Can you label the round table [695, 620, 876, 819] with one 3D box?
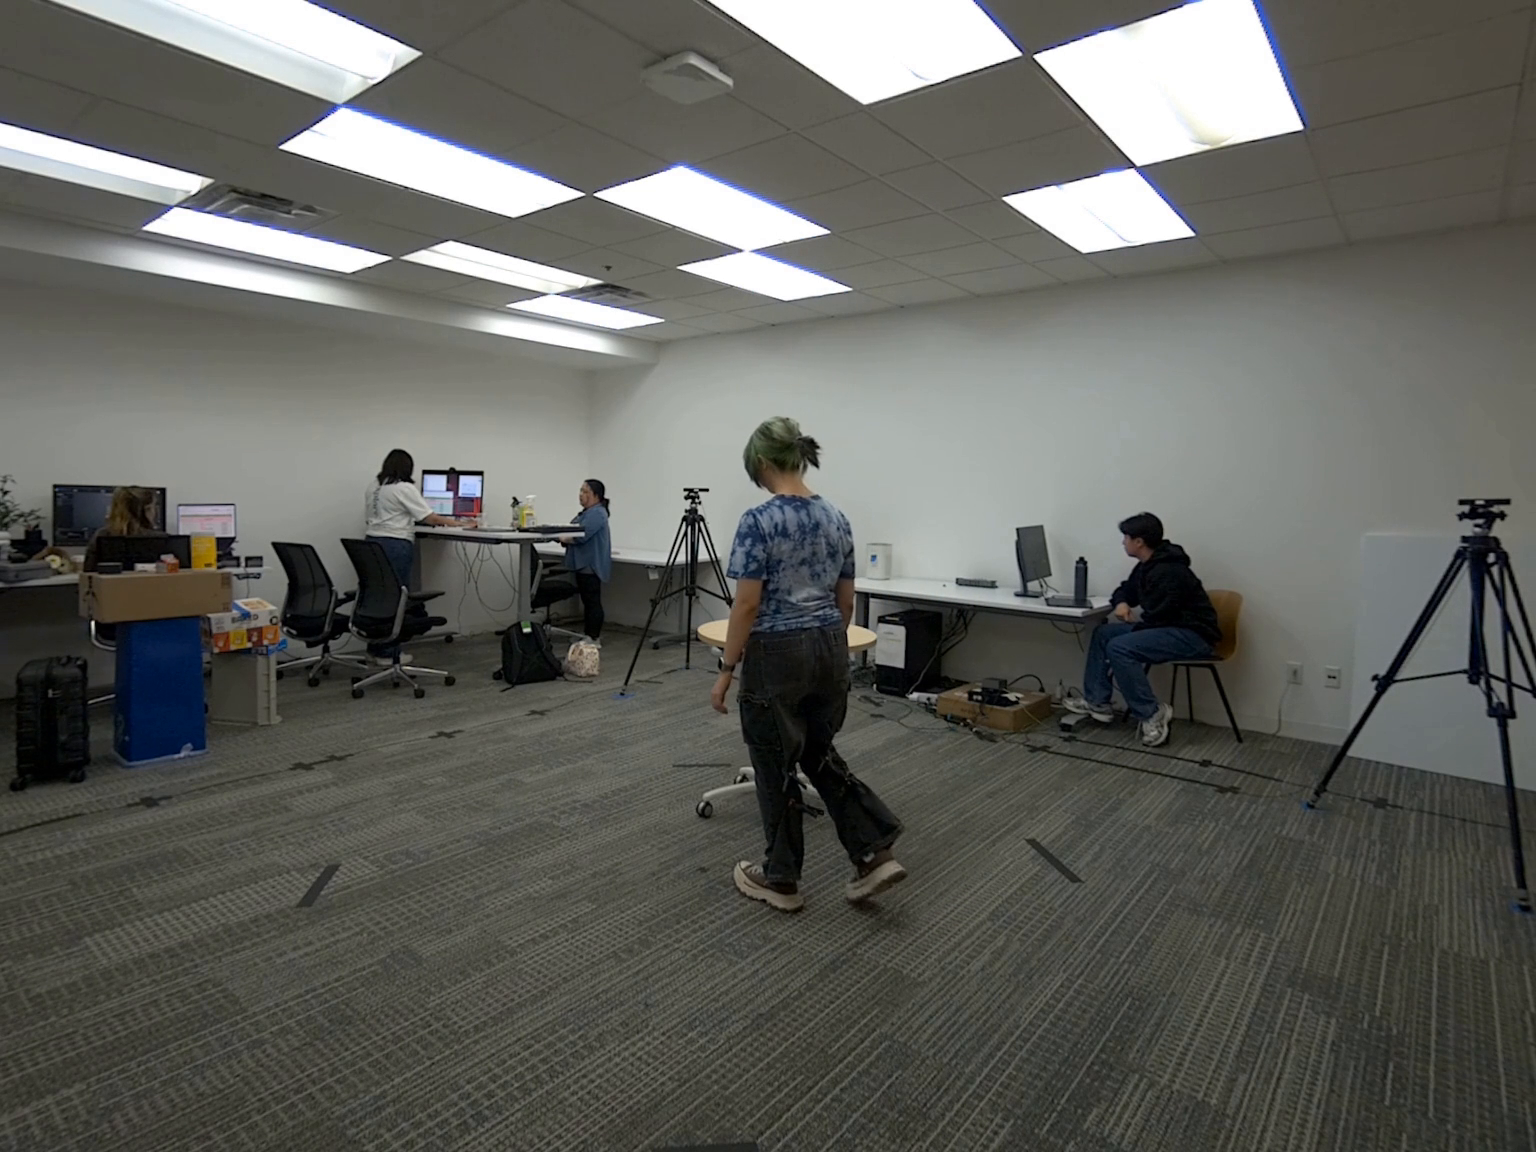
[{"bbox_3d":[0.058,0.628,3.674,0.763,0.791,0.768,1,4,-2],"label":"round table"}]
